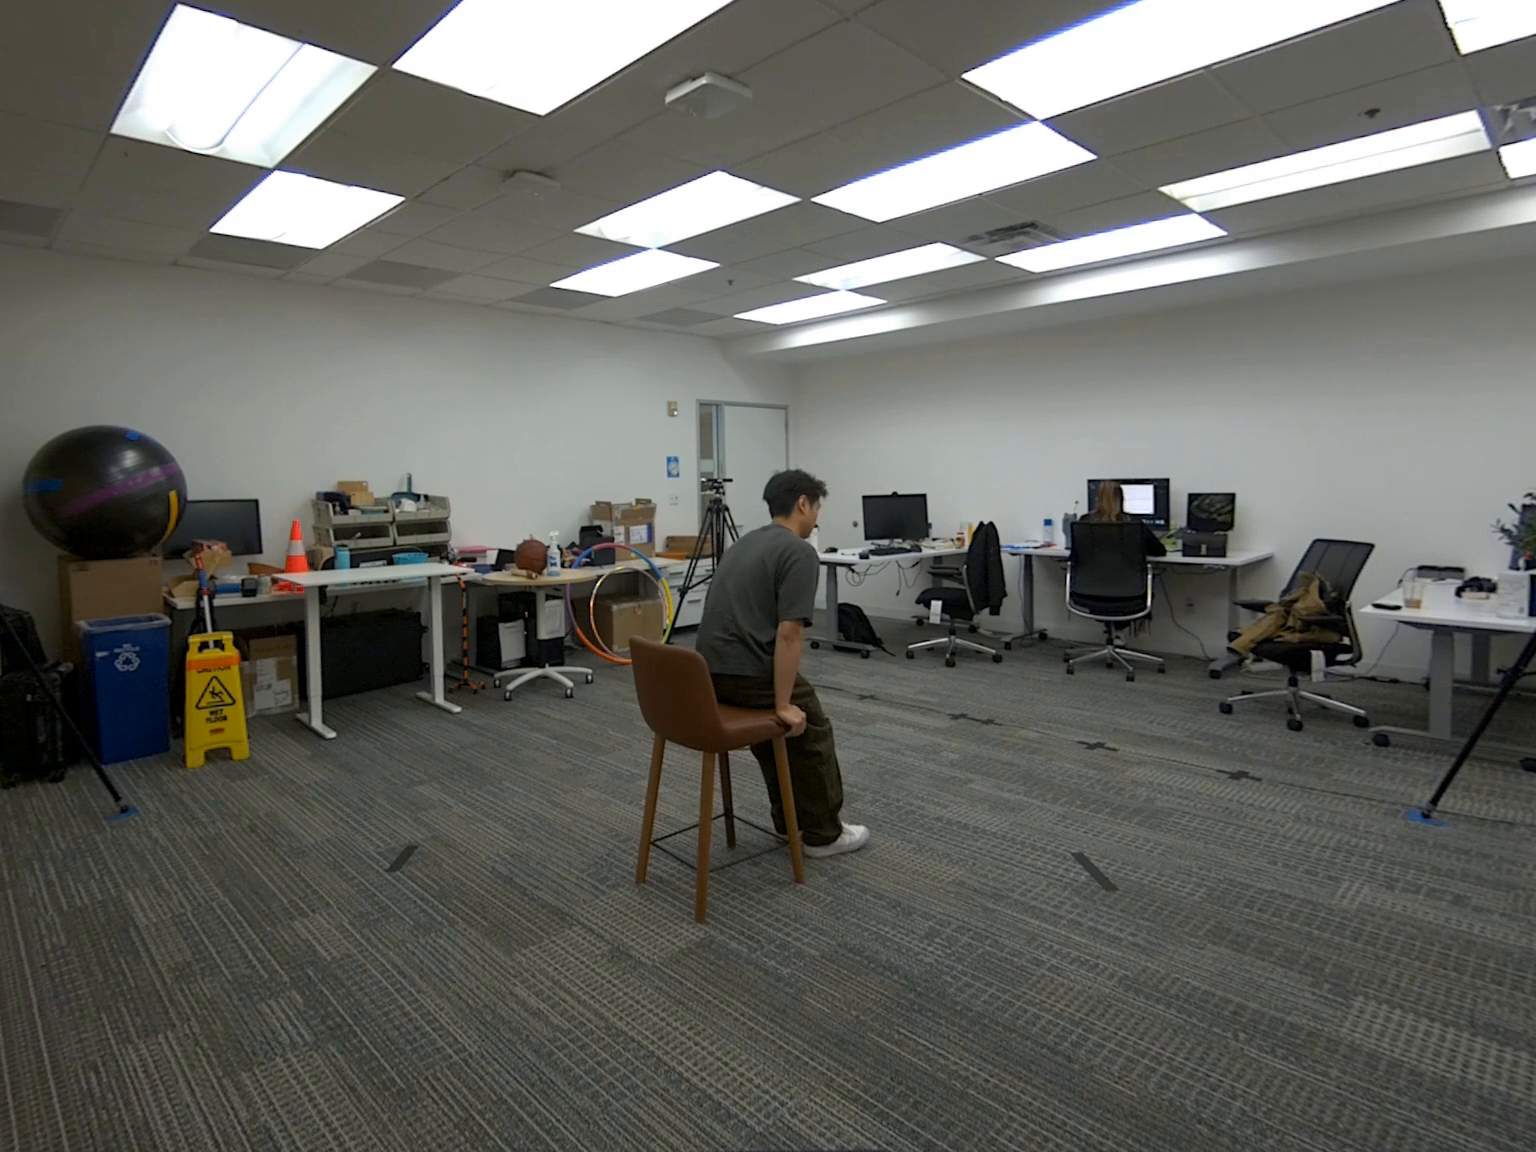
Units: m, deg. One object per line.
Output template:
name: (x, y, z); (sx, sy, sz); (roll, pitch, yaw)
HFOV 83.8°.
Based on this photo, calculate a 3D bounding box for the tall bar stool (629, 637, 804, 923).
tall bar stool: (-0.182, 0.627, 2.941); (0.456, 0.885, 0.470); (-6, 7, -40)
